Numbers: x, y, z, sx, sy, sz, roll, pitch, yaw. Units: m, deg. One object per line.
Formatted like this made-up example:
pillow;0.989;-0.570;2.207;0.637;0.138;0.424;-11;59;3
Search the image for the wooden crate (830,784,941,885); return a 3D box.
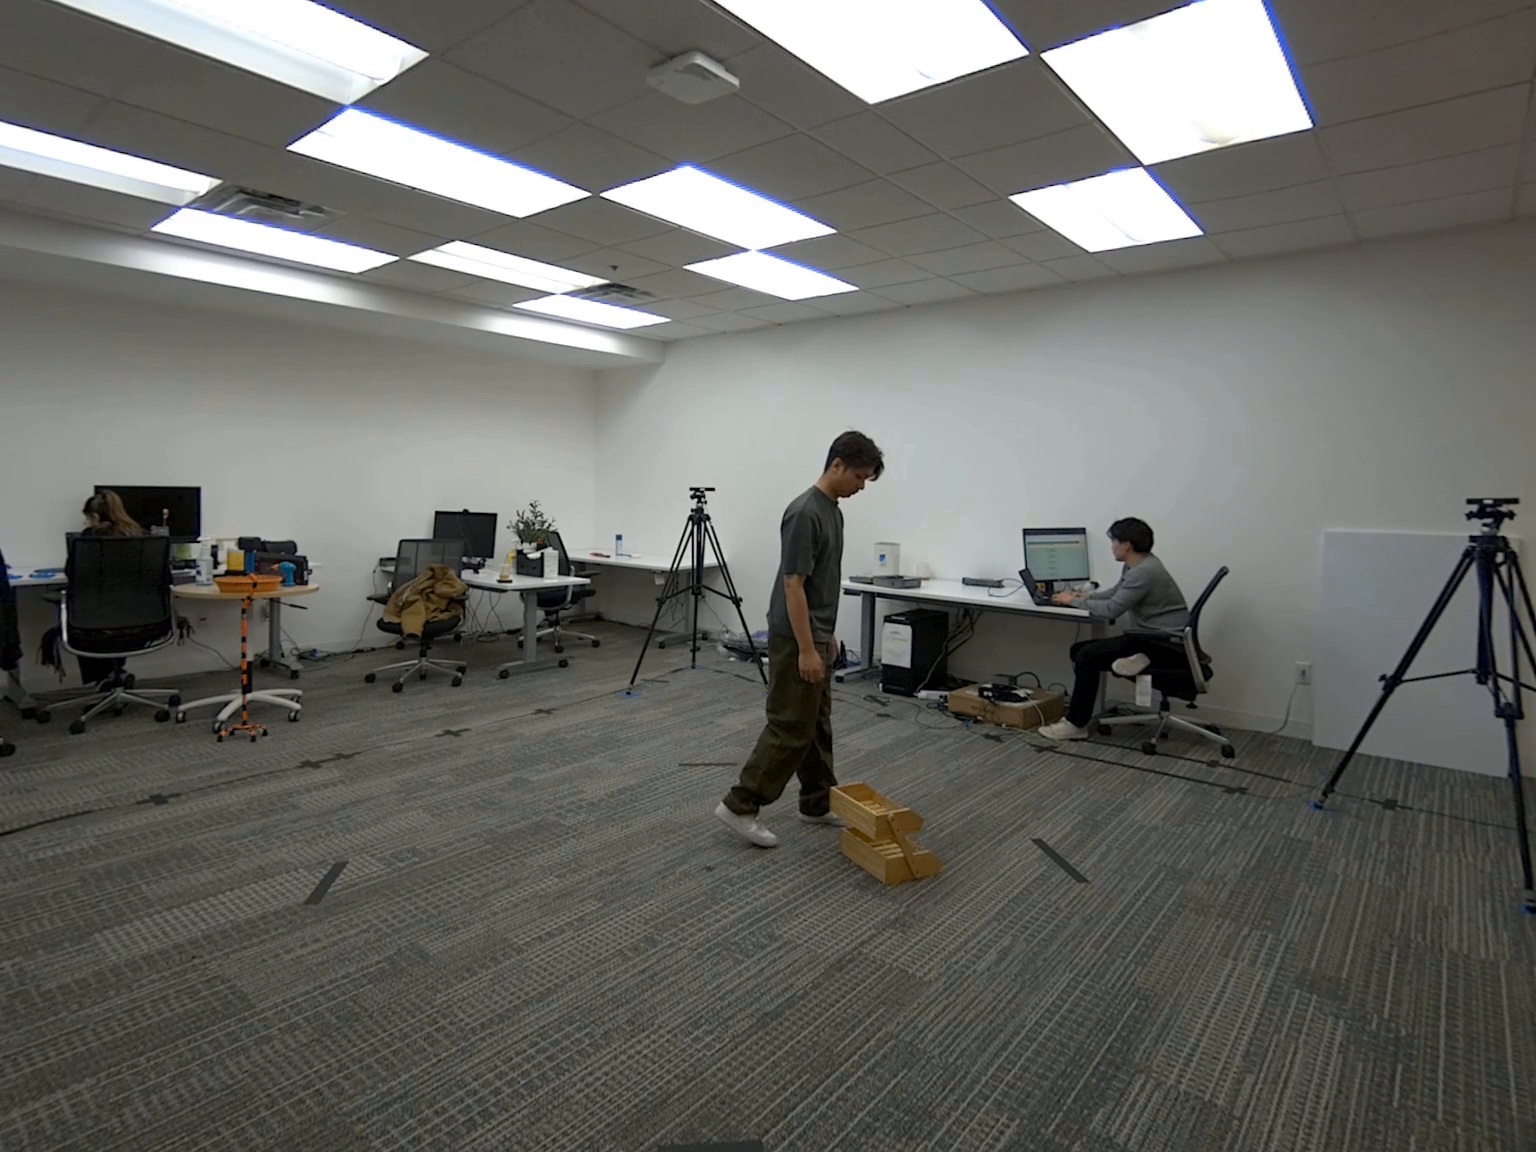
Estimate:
wooden crate;0.434;0.938;3.187;0.294;0.272;0.334;-1;5;-27
